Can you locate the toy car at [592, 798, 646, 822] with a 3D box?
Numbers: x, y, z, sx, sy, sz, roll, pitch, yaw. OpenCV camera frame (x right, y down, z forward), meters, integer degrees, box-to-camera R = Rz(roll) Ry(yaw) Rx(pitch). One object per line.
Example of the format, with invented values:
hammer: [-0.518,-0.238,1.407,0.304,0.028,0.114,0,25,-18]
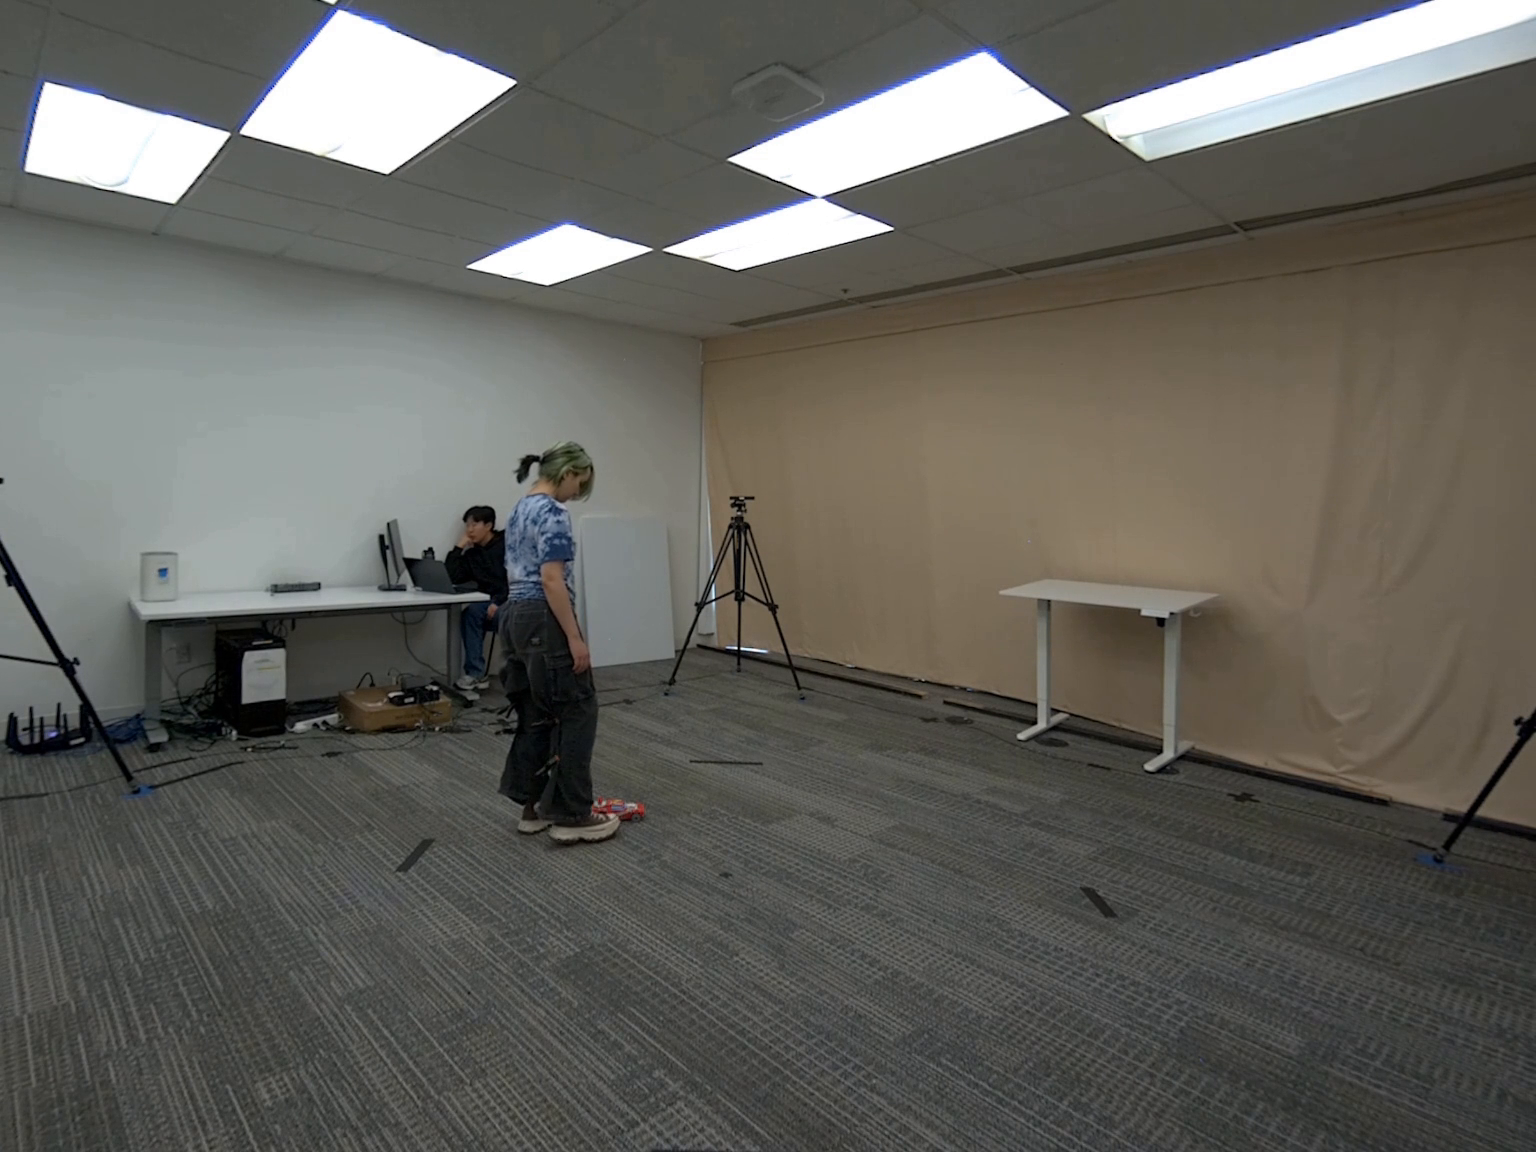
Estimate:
toy car: [-0.675,1.015,3.634,0.253,0.083,0.131,12,3,-7]
